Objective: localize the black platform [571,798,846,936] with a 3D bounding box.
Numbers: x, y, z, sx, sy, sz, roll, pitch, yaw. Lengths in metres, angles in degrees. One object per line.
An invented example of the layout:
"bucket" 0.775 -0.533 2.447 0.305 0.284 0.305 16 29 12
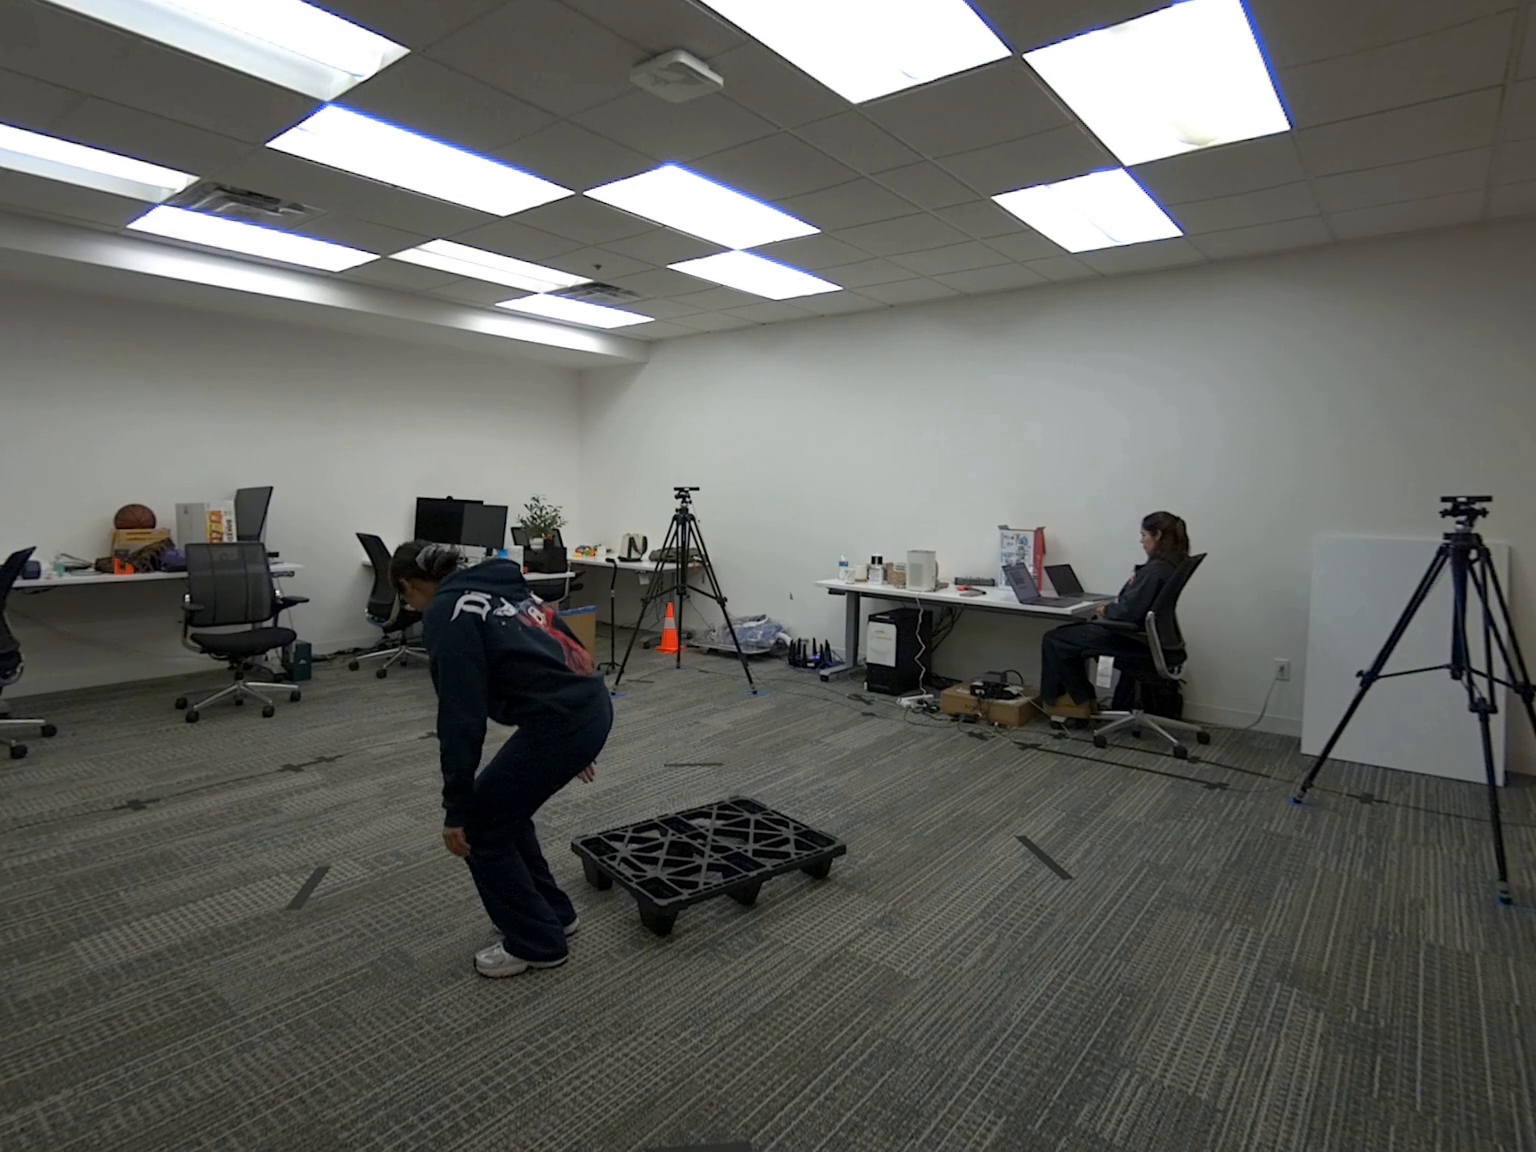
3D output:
"black platform" -0.215 1.008 3.029 0.782 0.143 0.626 -4 8 -39
